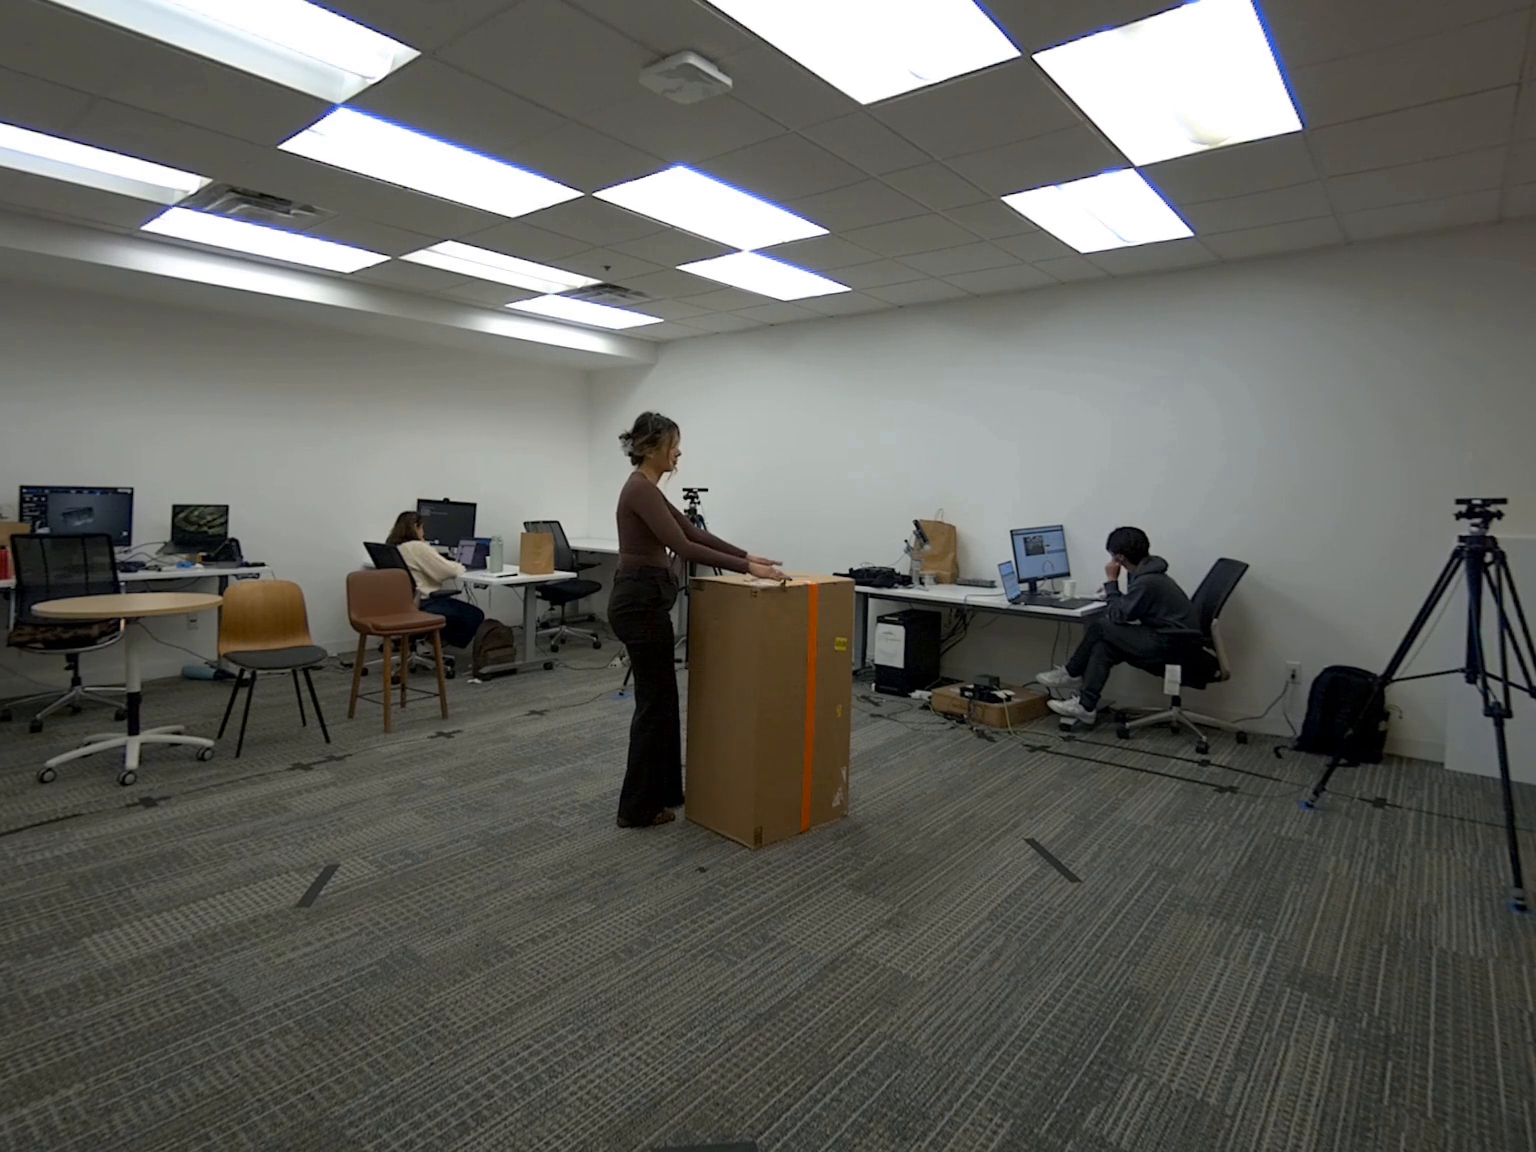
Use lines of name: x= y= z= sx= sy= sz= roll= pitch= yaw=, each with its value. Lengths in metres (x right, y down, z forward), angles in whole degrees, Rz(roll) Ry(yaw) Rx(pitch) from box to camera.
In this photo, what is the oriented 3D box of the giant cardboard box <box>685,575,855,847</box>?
giant cardboard box: x=0.004 y=0.515 z=3.602 sx=0.566 sy=1.023 sz=0.462 roll=-2 pitch=5 yaw=-43
